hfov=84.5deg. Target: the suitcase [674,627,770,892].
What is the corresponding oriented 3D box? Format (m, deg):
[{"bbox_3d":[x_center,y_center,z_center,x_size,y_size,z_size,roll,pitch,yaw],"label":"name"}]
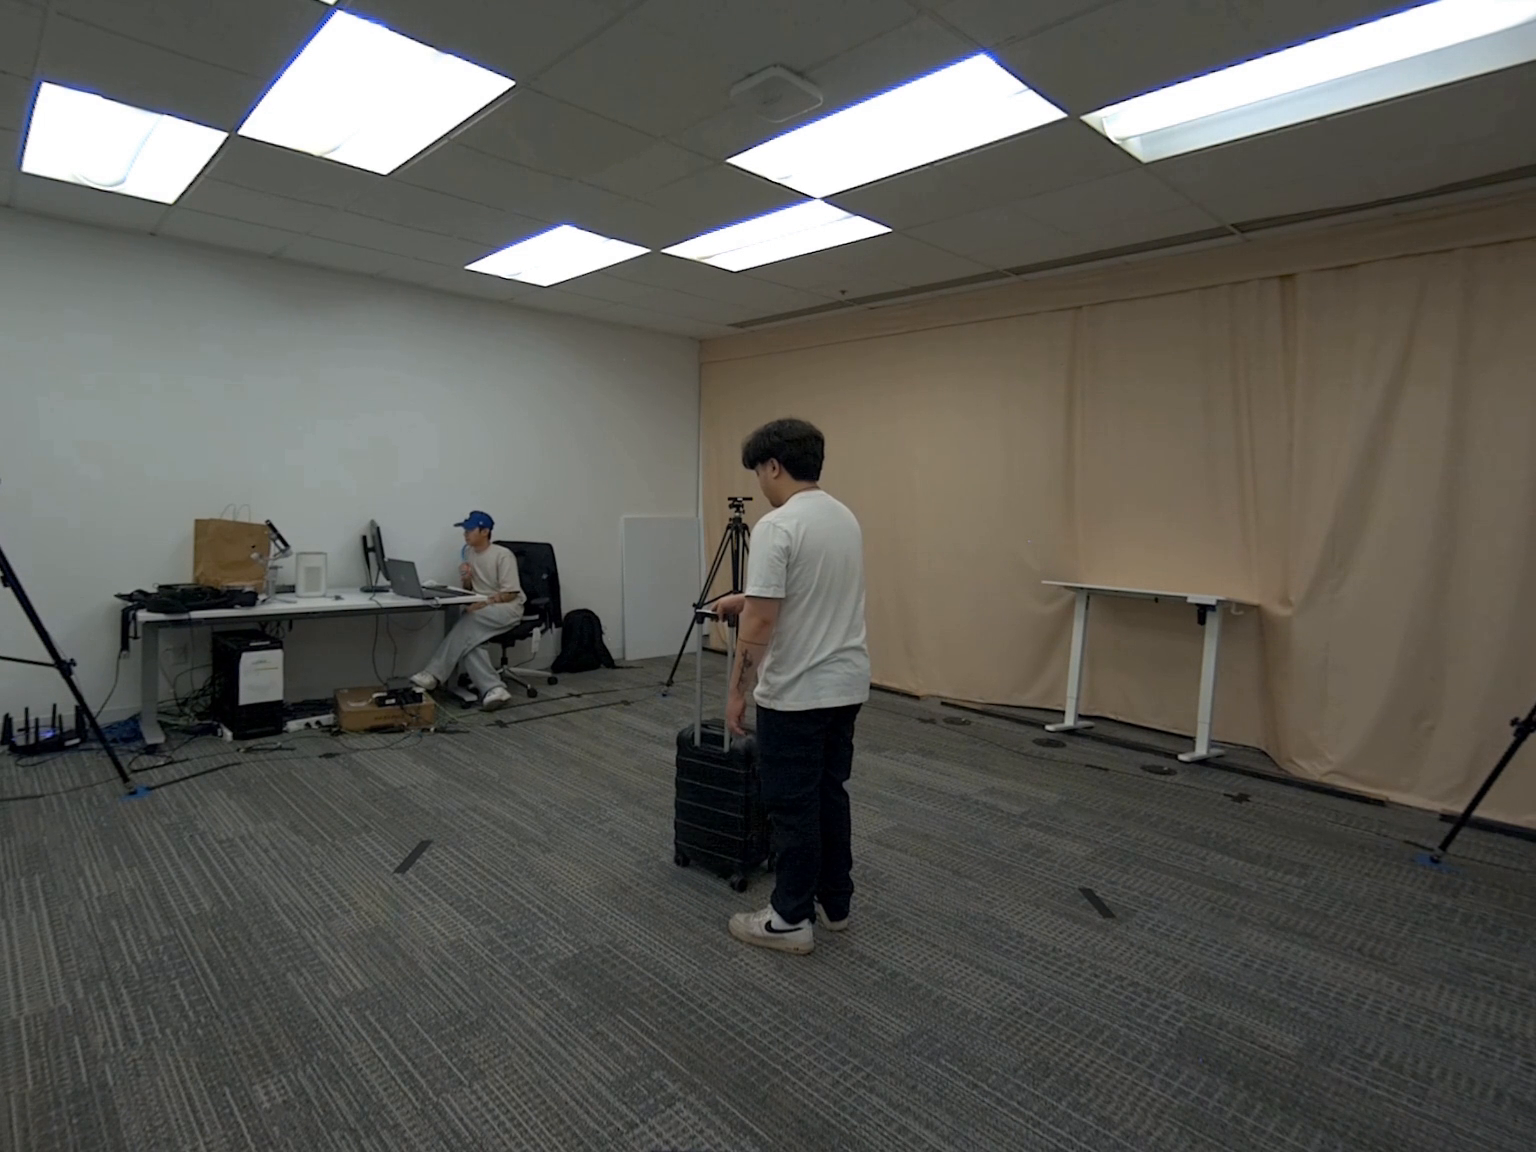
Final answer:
[{"bbox_3d":[-0.156,0.633,3.152,0.393,0.977,0.251,5,3,34],"label":"suitcase"}]
